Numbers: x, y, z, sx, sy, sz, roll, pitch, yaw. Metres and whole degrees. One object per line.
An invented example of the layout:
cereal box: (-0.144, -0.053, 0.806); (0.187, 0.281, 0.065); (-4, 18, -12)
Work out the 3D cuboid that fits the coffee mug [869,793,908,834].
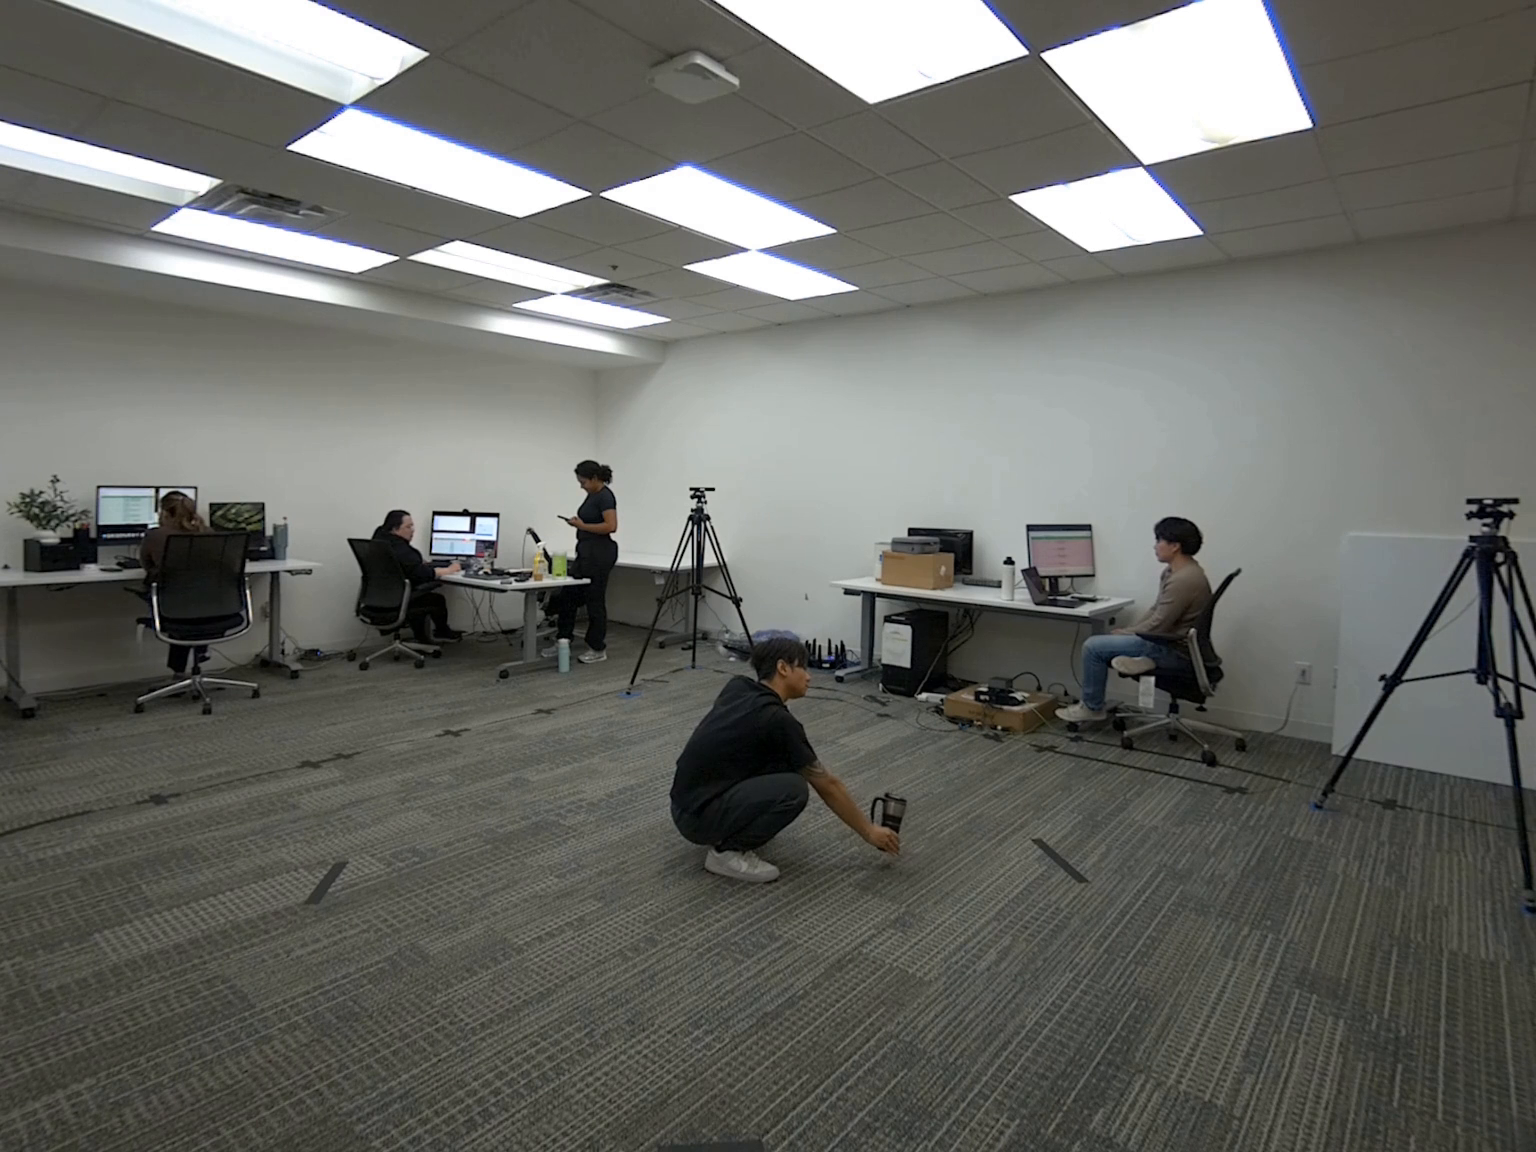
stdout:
coffee mug: (0.446, 0.922, 3.202); (0.126, 0.204, 0.084); (8, -7, 37)
